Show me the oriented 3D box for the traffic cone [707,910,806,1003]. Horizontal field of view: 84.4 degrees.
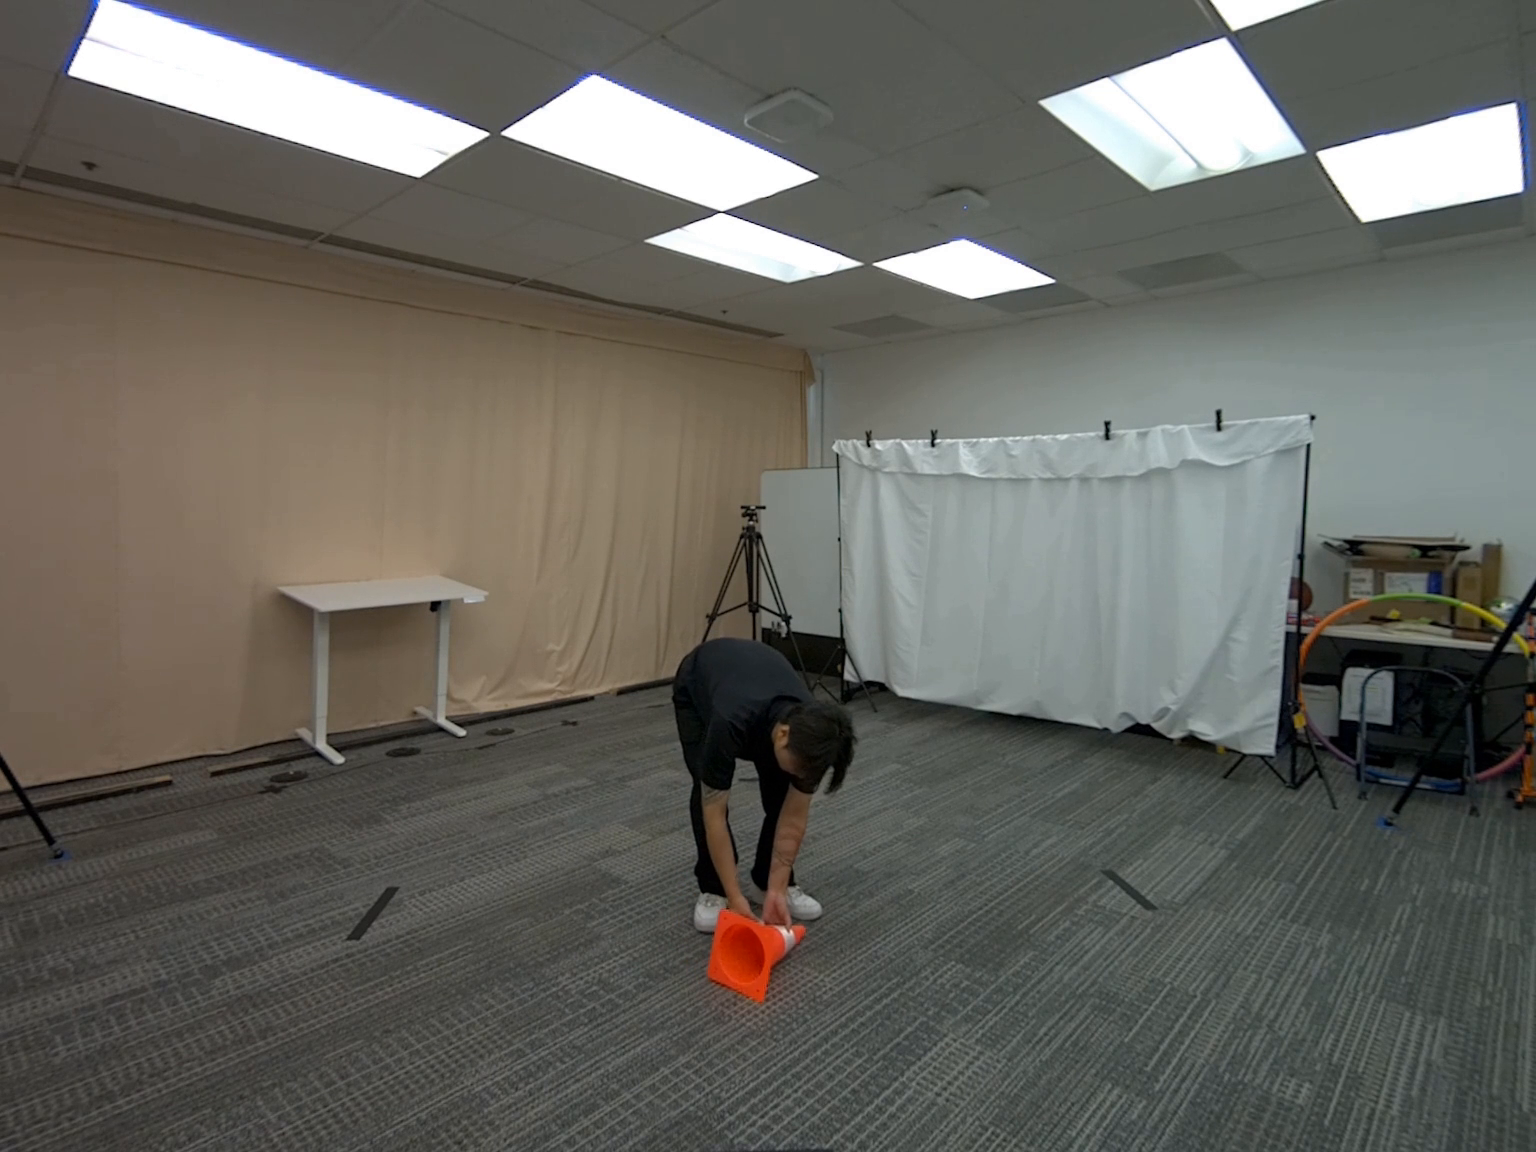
[{"bbox_3d":[0.020,1.127,2.578,0.210,0.205,0.370,8,-7,35],"label":"traffic cone"}]
